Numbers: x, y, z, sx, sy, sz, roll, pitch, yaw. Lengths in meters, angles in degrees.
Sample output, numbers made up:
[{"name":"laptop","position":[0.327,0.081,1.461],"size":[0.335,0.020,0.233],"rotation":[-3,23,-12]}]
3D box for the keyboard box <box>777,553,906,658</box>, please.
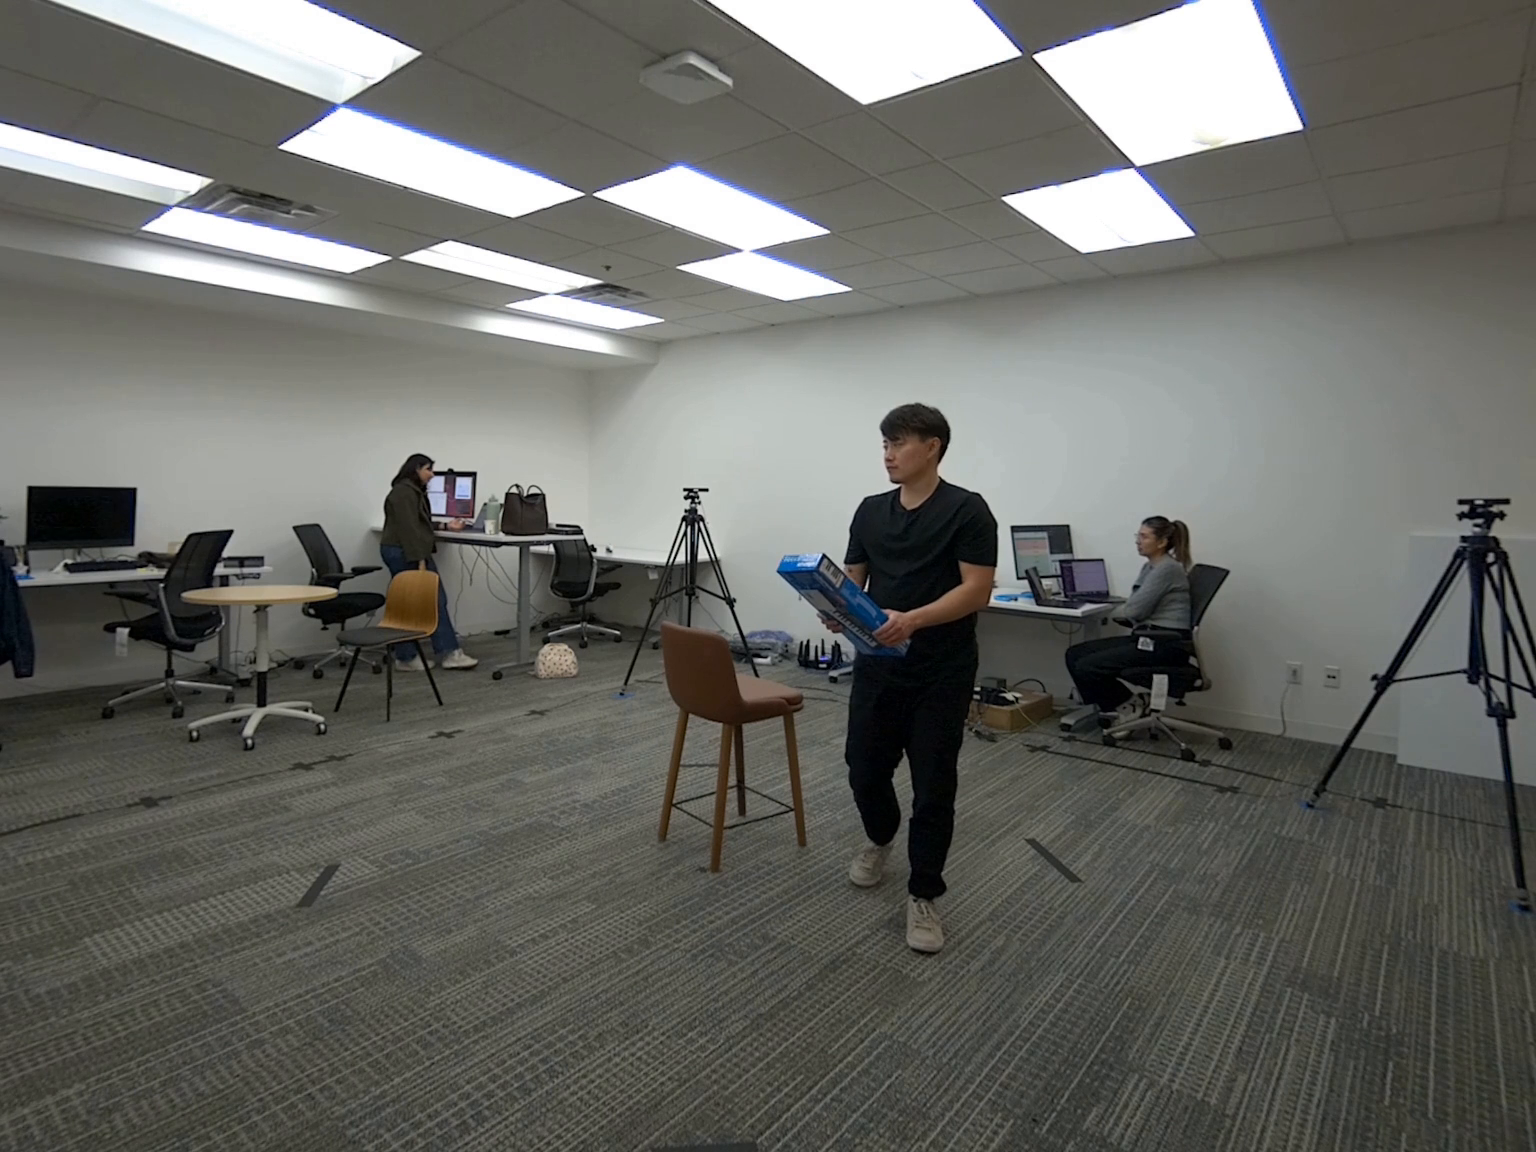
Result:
[{"name":"keyboard box","position":[0.217,0.098,2.508],"size":[0.422,0.059,0.181],"rotation":[43,-27,-26]}]
